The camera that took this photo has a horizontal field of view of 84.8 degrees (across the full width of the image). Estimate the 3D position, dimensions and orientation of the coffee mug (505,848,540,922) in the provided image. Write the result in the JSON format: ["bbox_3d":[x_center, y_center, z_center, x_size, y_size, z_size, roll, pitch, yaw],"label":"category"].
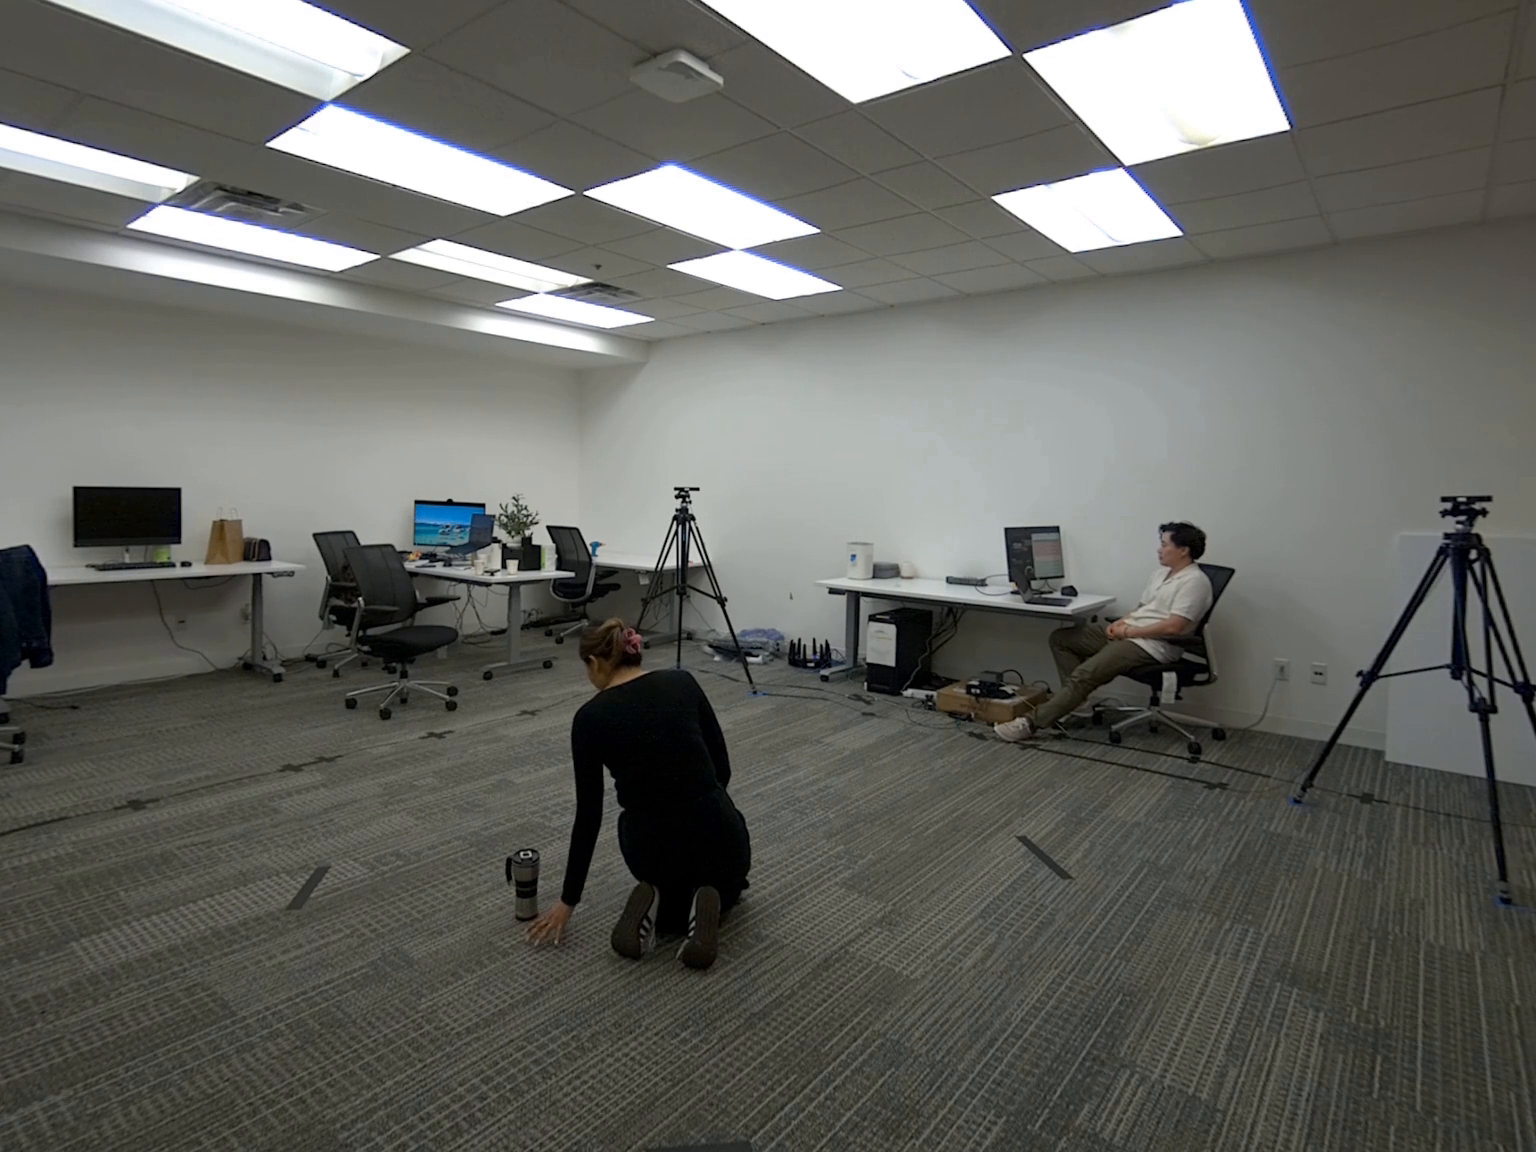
[{"bbox_3d":[-0.805,0.997,2.753,0.085,0.201,0.126,-4,11,-35],"label":"coffee mug"}]
